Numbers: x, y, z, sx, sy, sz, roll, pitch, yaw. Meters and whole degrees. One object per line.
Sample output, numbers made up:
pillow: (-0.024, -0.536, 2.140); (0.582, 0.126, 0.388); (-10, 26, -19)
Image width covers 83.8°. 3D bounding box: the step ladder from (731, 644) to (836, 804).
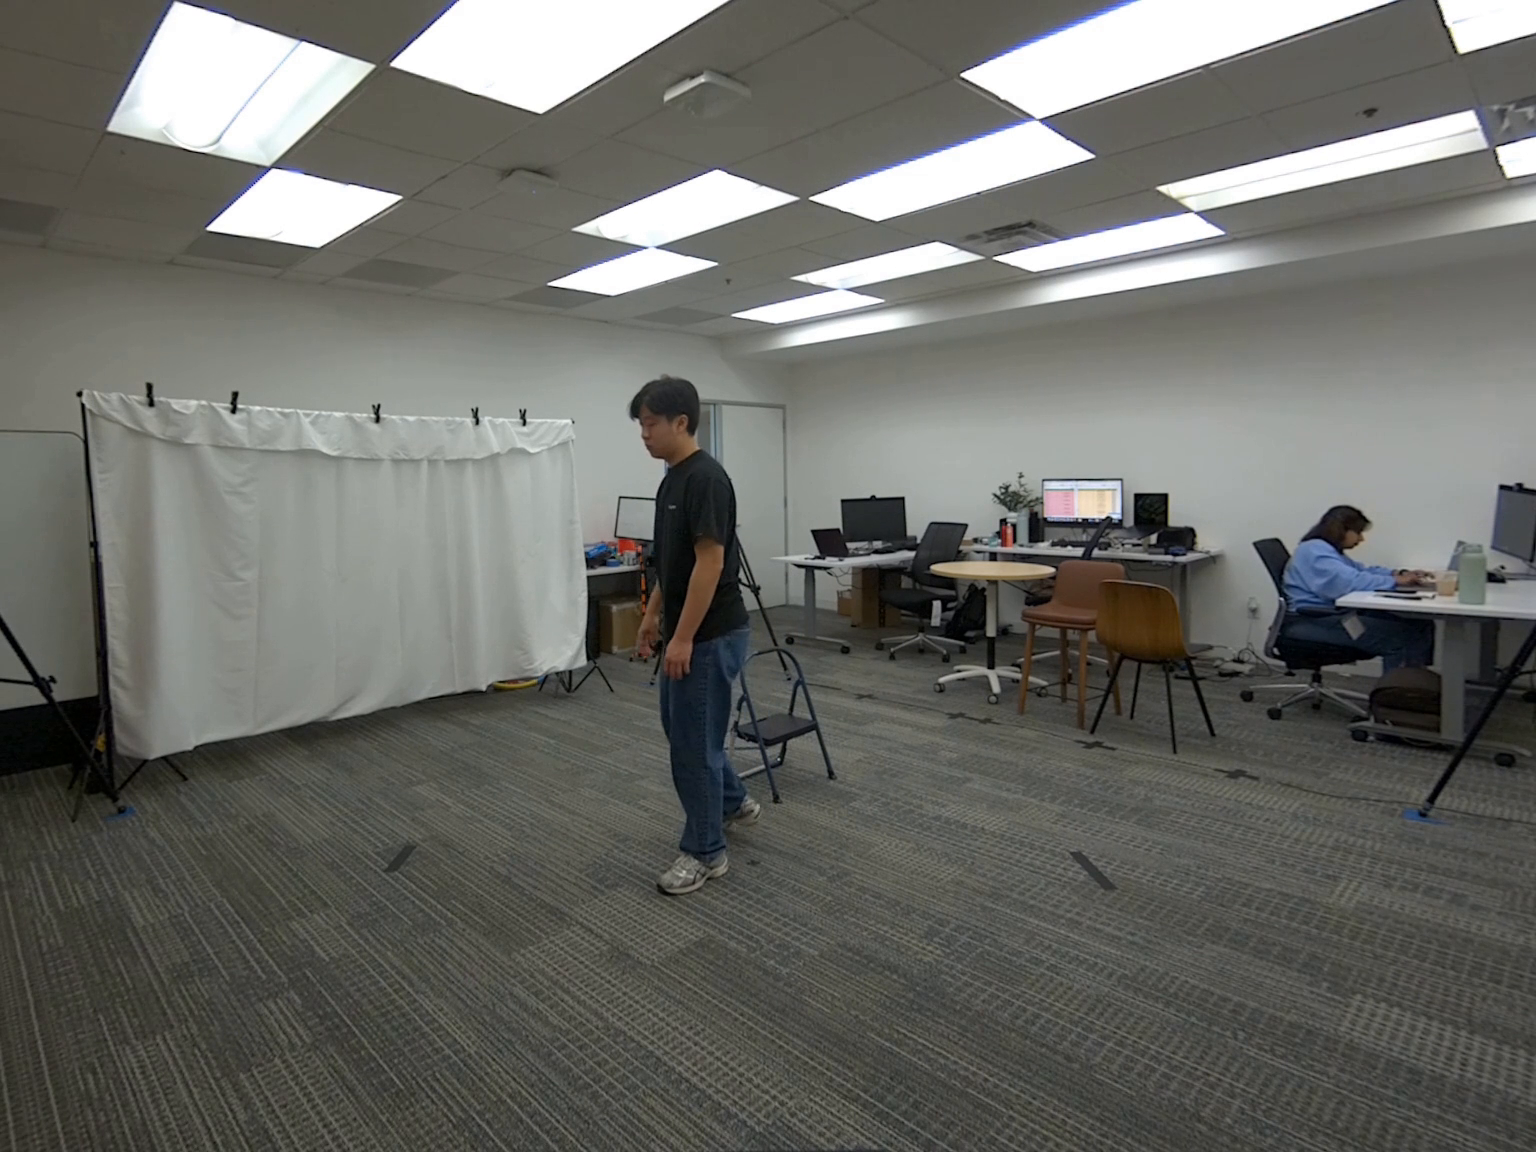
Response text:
step ladder: (0.048, 0.645, 3.916); (0.360, 0.604, 0.419); (3, 6, 41)
